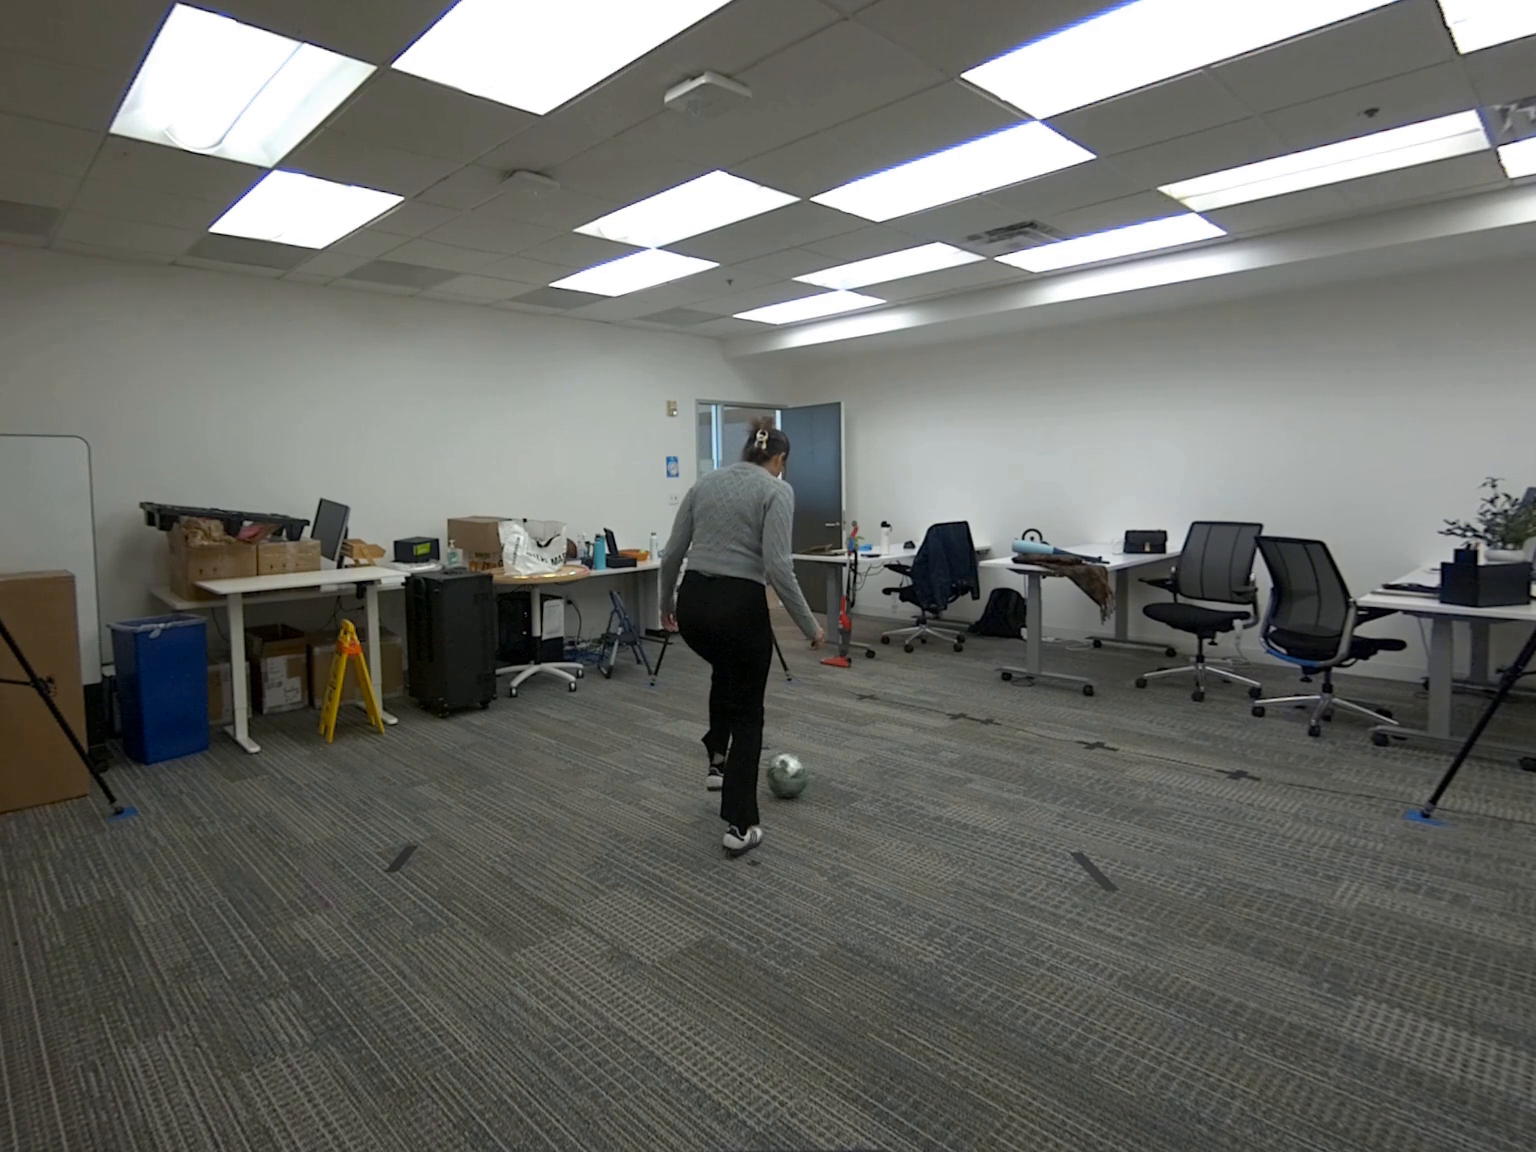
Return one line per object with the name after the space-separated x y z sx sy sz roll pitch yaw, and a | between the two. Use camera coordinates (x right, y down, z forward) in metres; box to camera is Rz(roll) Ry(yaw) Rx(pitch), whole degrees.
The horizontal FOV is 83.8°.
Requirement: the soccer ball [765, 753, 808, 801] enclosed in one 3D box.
0.071 0.874 3.739 0.187 0.187 0.188 -1 5 -2 | soccer ball
